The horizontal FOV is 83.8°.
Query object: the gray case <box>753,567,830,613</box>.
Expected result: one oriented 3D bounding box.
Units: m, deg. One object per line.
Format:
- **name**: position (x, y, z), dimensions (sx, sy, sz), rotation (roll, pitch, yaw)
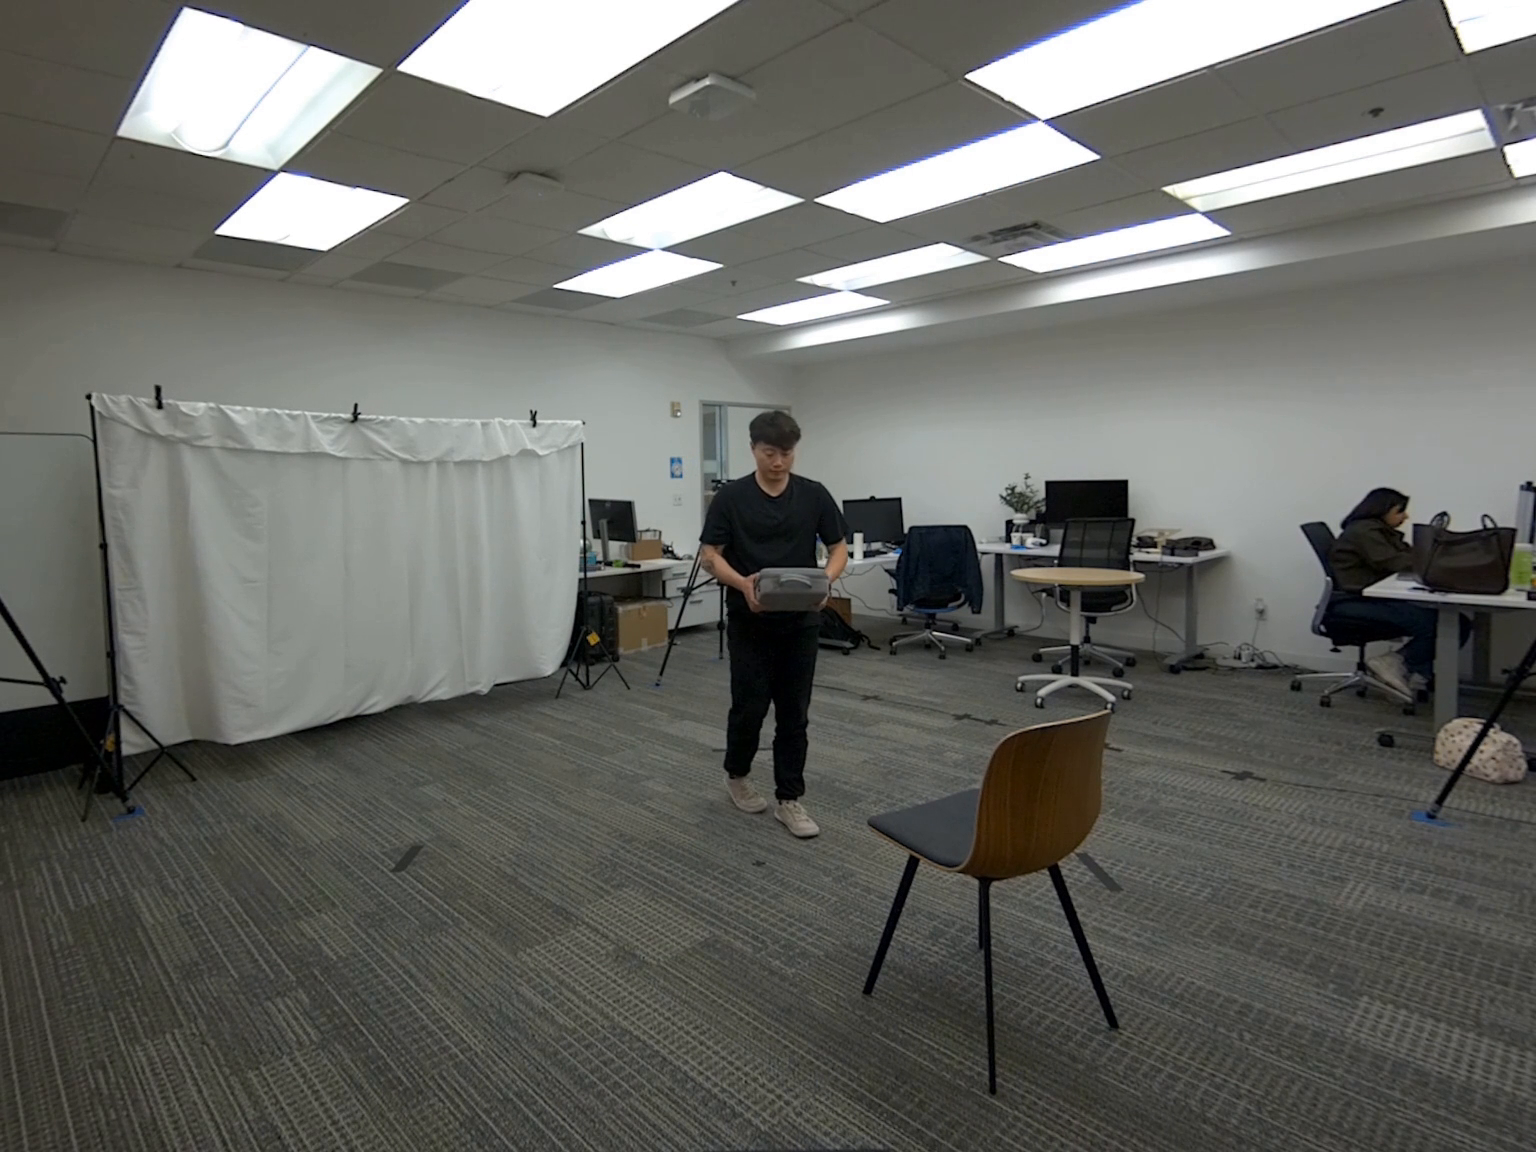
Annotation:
- **gray case**: position (0.074, 0.048, 3.175), dimensions (0.254, 0.106, 0.259), rotation (1, -16, -11)
